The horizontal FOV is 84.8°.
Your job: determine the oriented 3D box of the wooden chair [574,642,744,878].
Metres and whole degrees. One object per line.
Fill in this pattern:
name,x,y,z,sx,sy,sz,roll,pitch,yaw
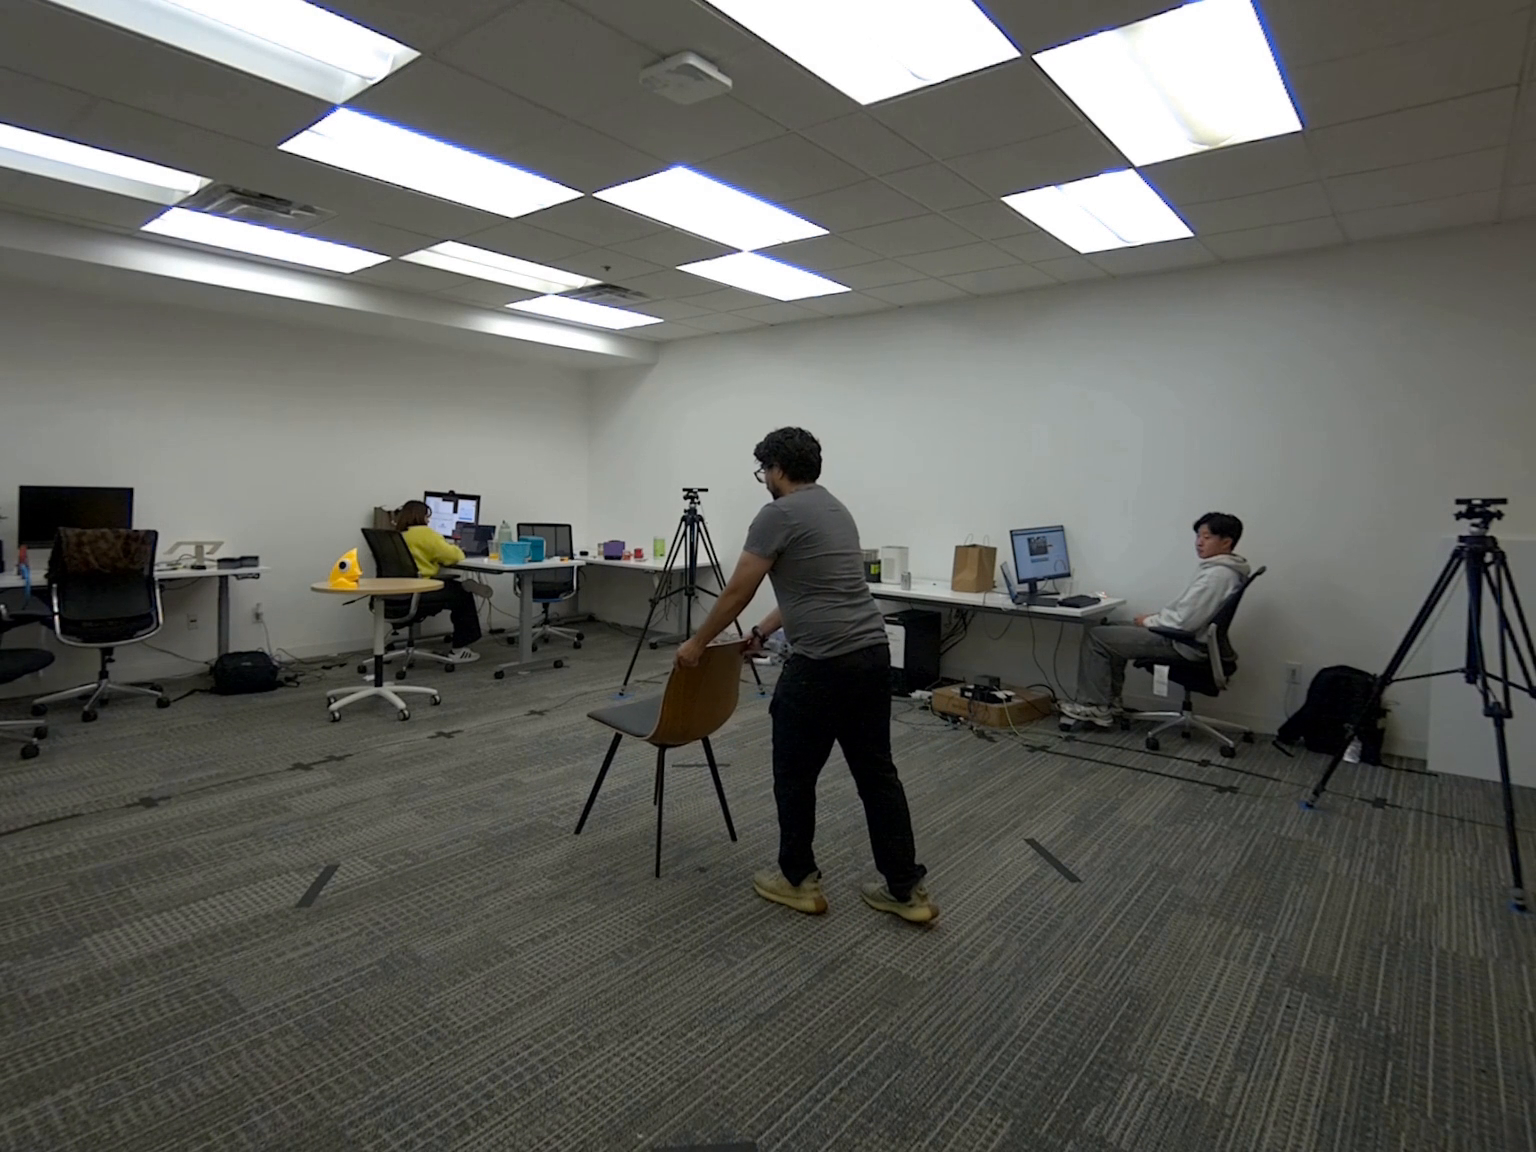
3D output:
wooden chair,-0.416,0.601,3.295,0.543,0.871,0.464,16,12,37
